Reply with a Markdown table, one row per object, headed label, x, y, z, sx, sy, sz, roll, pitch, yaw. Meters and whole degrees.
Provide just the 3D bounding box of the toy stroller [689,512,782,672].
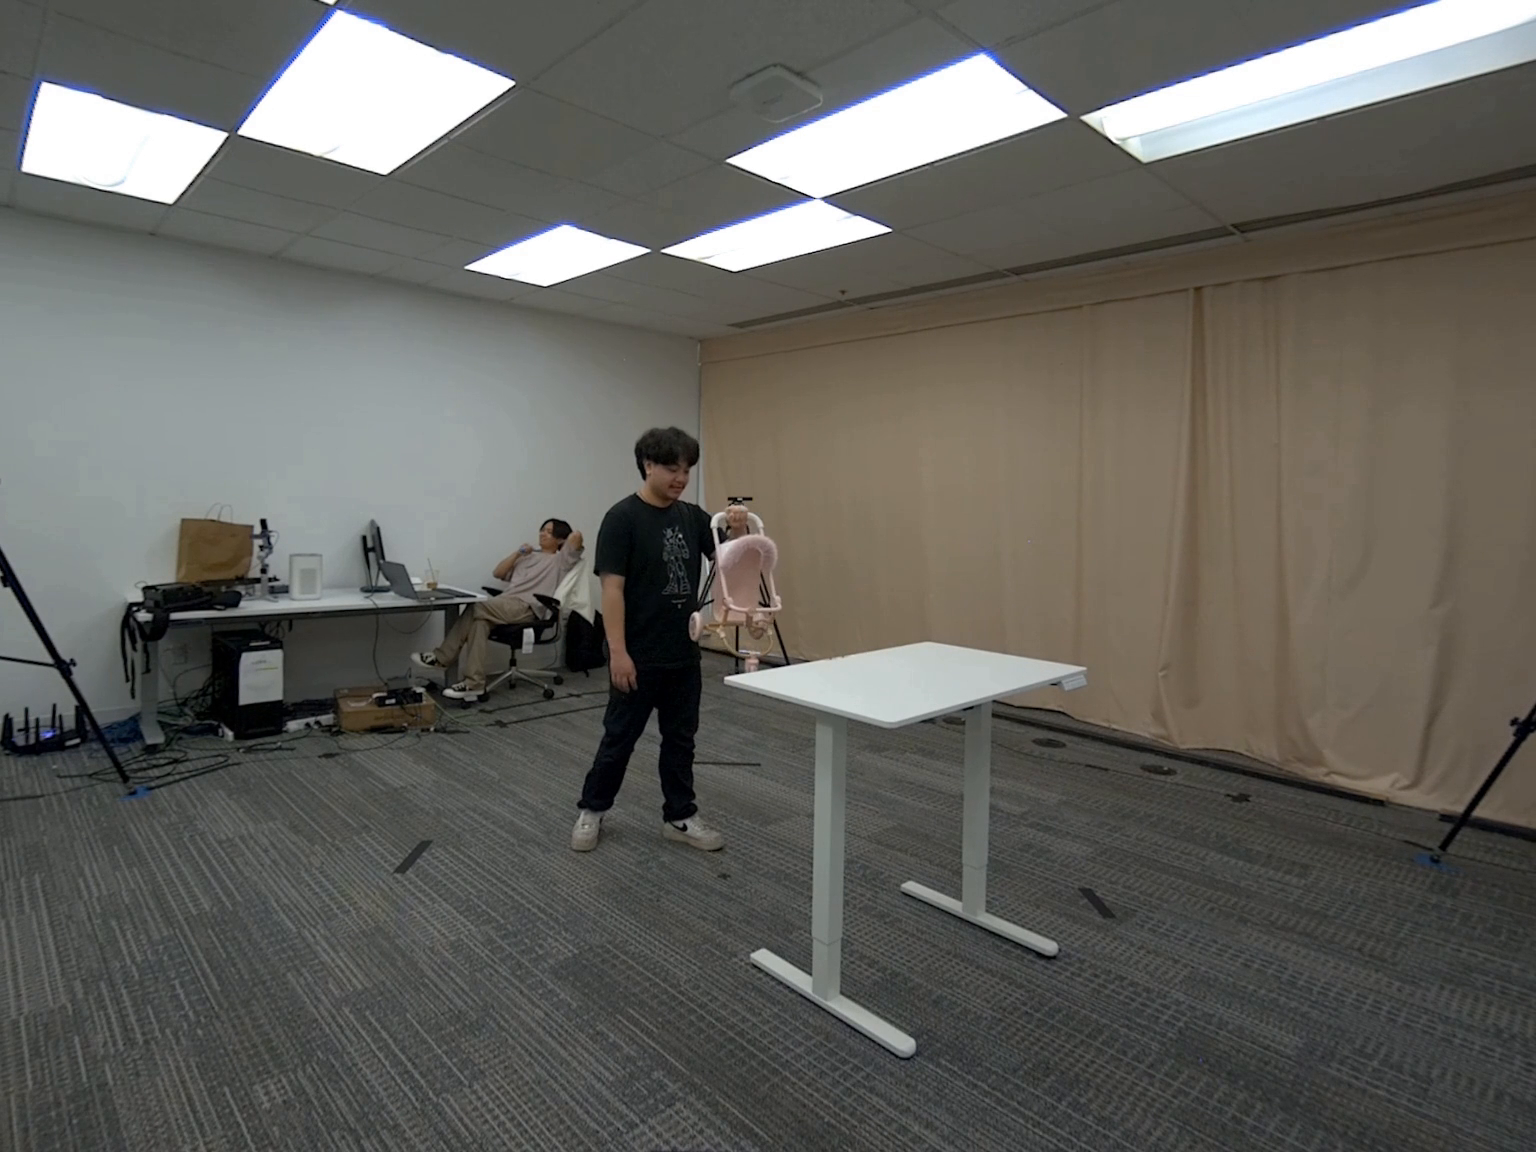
| label | x | y | z | sx | sy | sz | roll | pitch | yaw |
| --- | --- | --- | --- | --- | --- | --- | --- | --- | --- |
| toy stroller | -0.098 | 0.072 | 3.025 | 0.277 | 0.530 | 0.349 | 2 | 14 | -21 |
